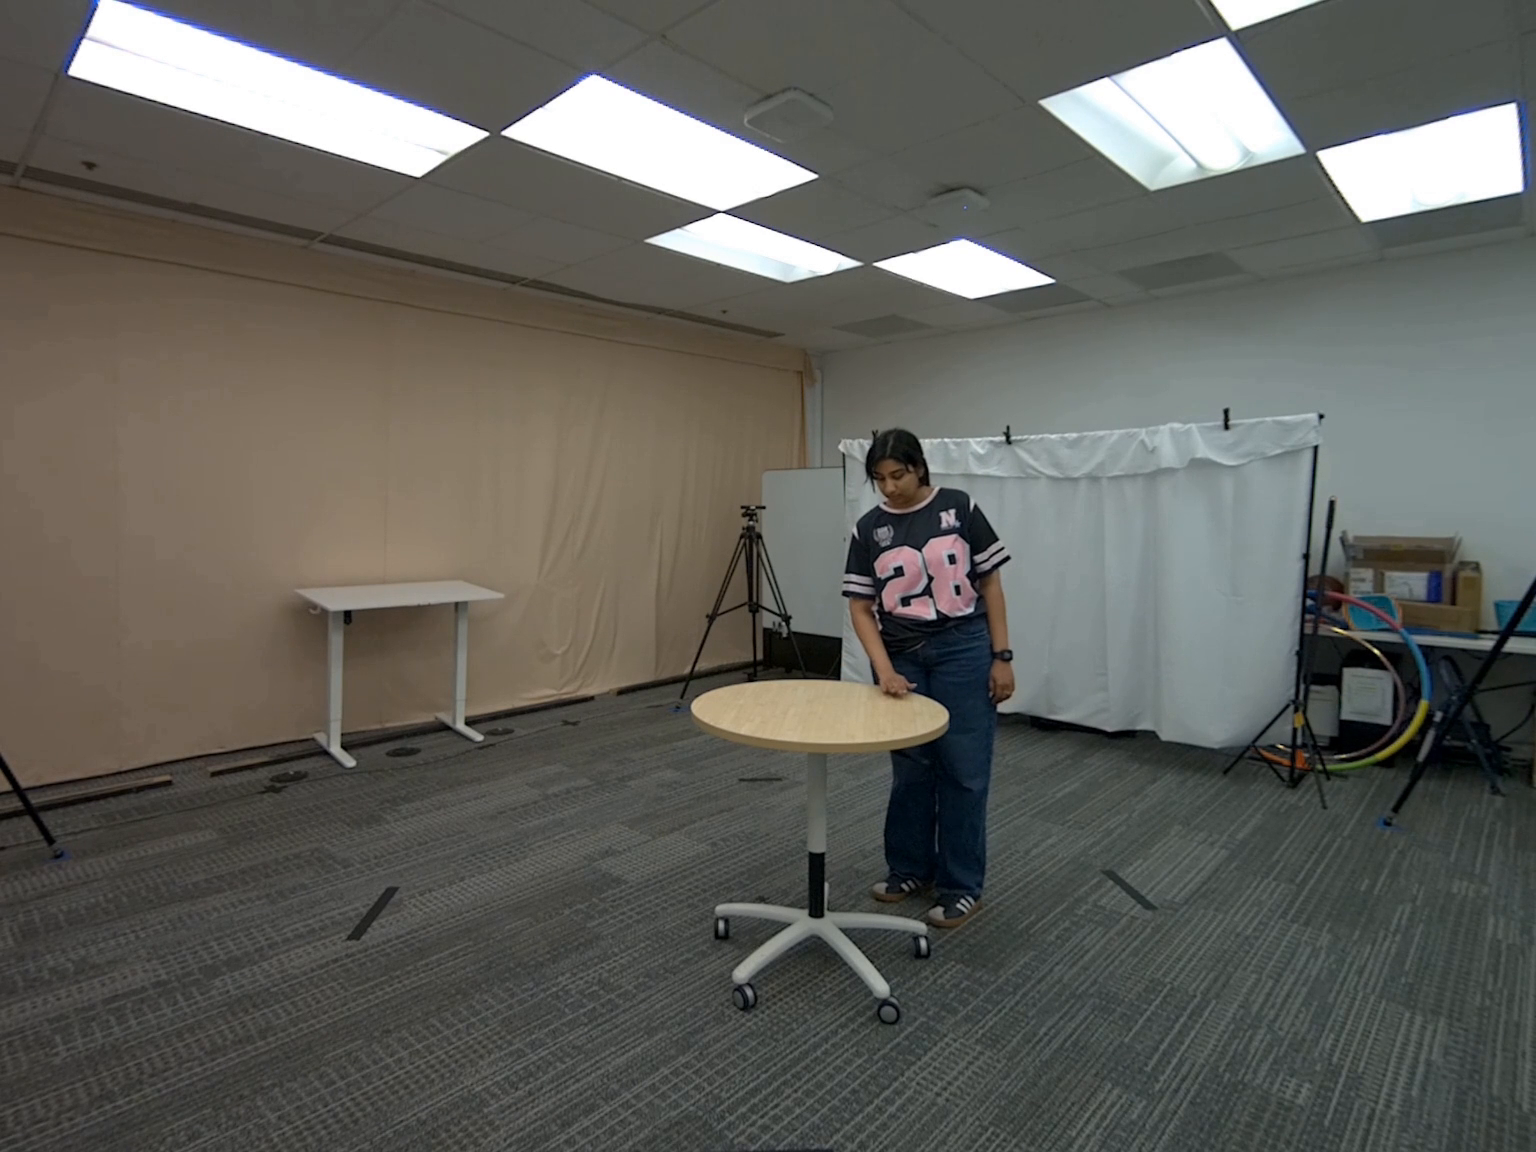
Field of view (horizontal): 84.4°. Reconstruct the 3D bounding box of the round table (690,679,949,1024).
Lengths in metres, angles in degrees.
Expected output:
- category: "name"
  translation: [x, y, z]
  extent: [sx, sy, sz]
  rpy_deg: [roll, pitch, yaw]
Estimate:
- category: "round table"
  translation: [0.166, 0.785, 2.555]
  extent: [0.784, 0.784, 0.788]
  rpy_deg: [0, 4, -2]
